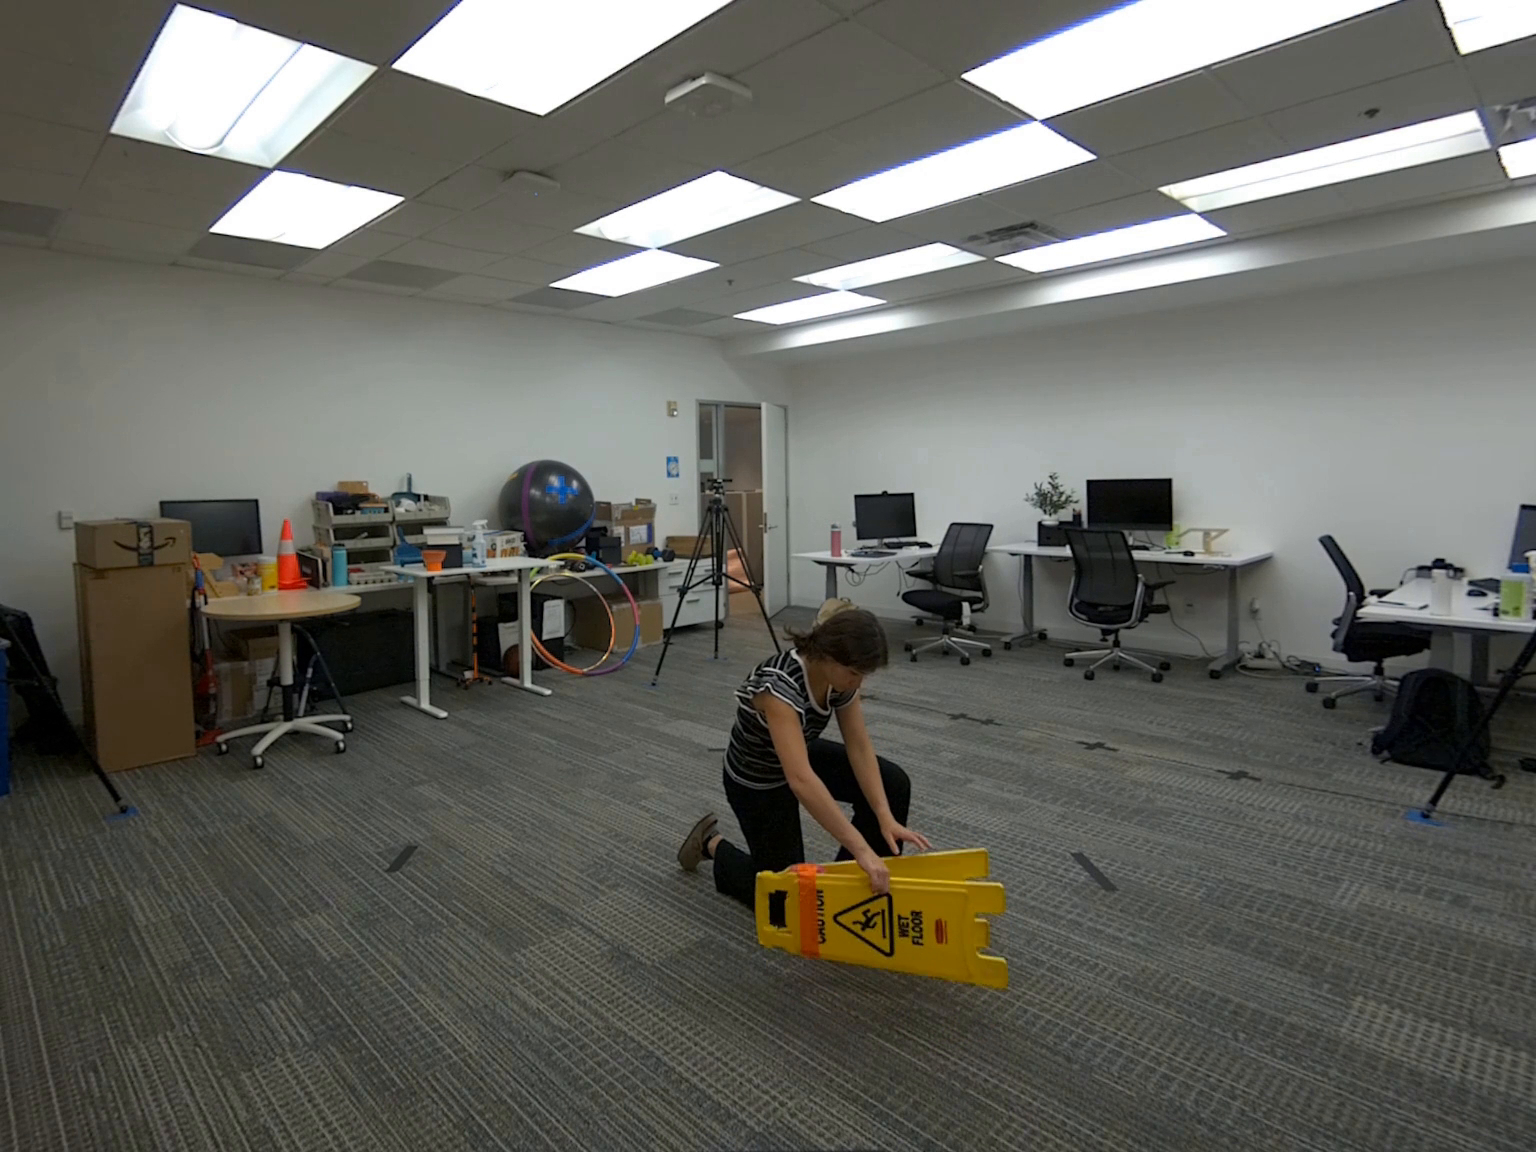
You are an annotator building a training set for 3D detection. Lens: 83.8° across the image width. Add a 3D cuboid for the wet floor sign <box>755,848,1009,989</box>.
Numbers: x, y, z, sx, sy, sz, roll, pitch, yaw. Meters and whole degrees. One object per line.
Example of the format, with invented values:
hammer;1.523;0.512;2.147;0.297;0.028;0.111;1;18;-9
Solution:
wet floor sign;0.296;0.924;2.332;0.651;0.282;0.288;-2;1;8
